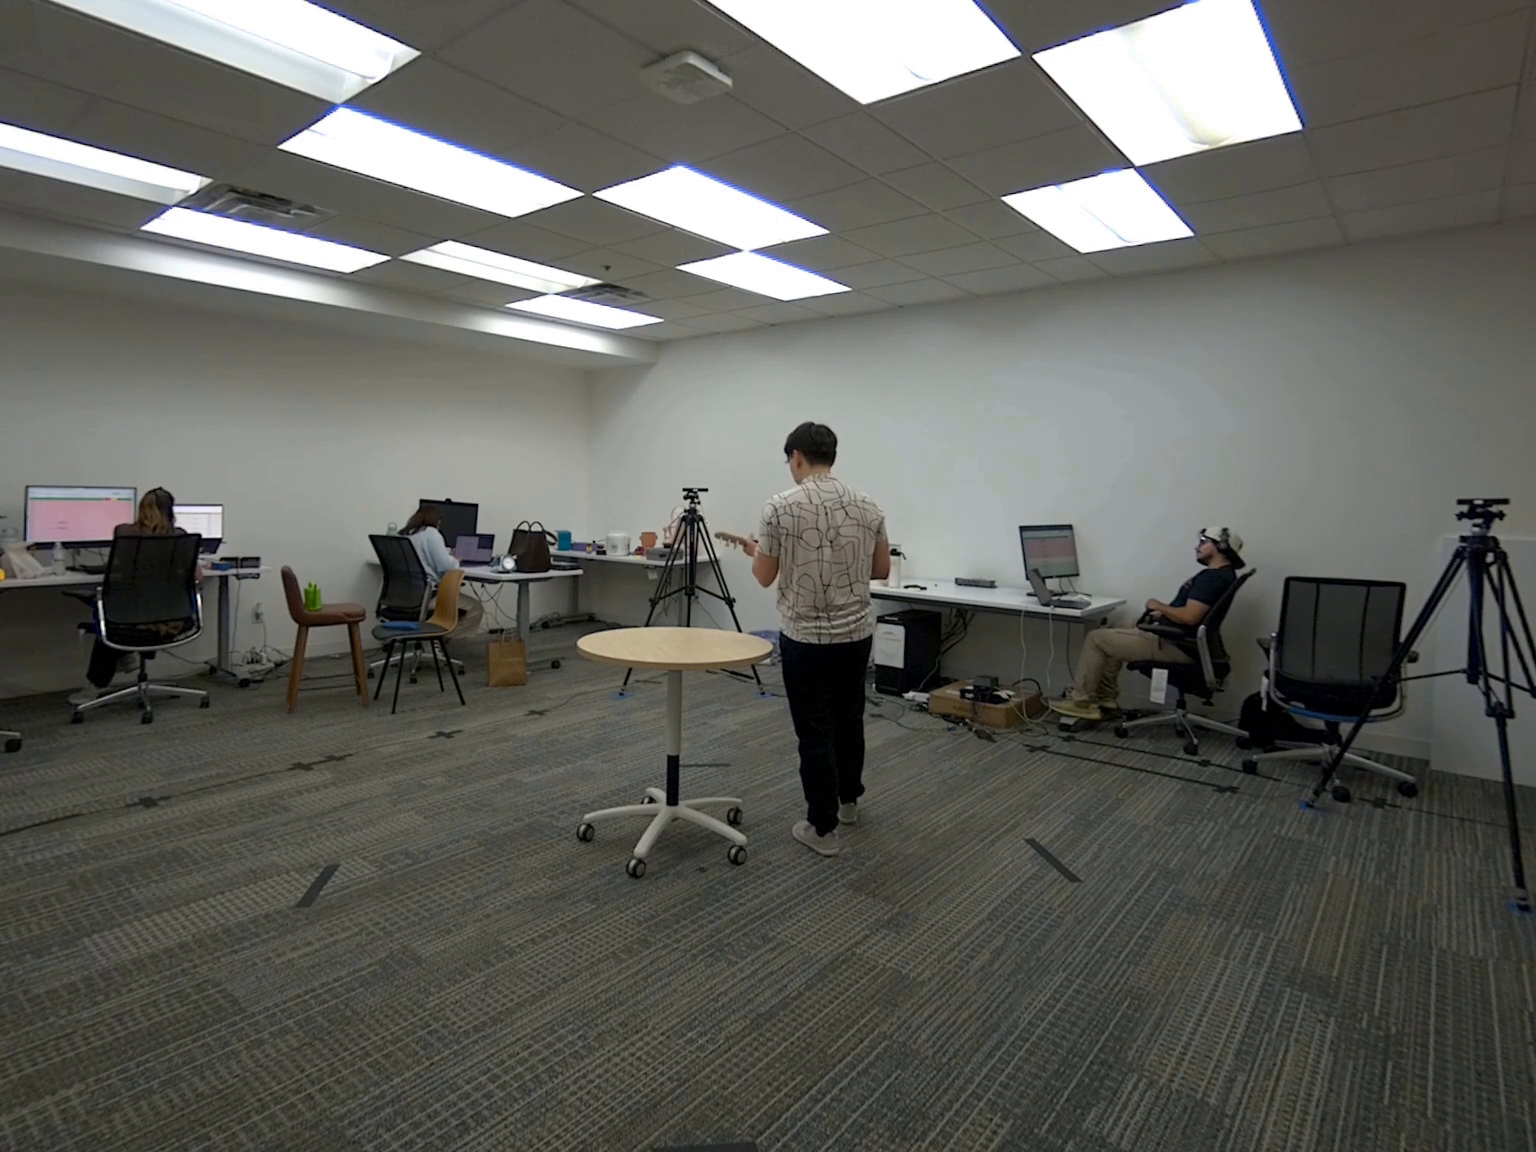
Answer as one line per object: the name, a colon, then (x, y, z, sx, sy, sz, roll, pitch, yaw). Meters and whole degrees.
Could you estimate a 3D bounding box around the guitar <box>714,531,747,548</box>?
guitar: (-0.007, -0.087, 3.618, 0.492, 0.072, 0.192, 13, -19, -9)
